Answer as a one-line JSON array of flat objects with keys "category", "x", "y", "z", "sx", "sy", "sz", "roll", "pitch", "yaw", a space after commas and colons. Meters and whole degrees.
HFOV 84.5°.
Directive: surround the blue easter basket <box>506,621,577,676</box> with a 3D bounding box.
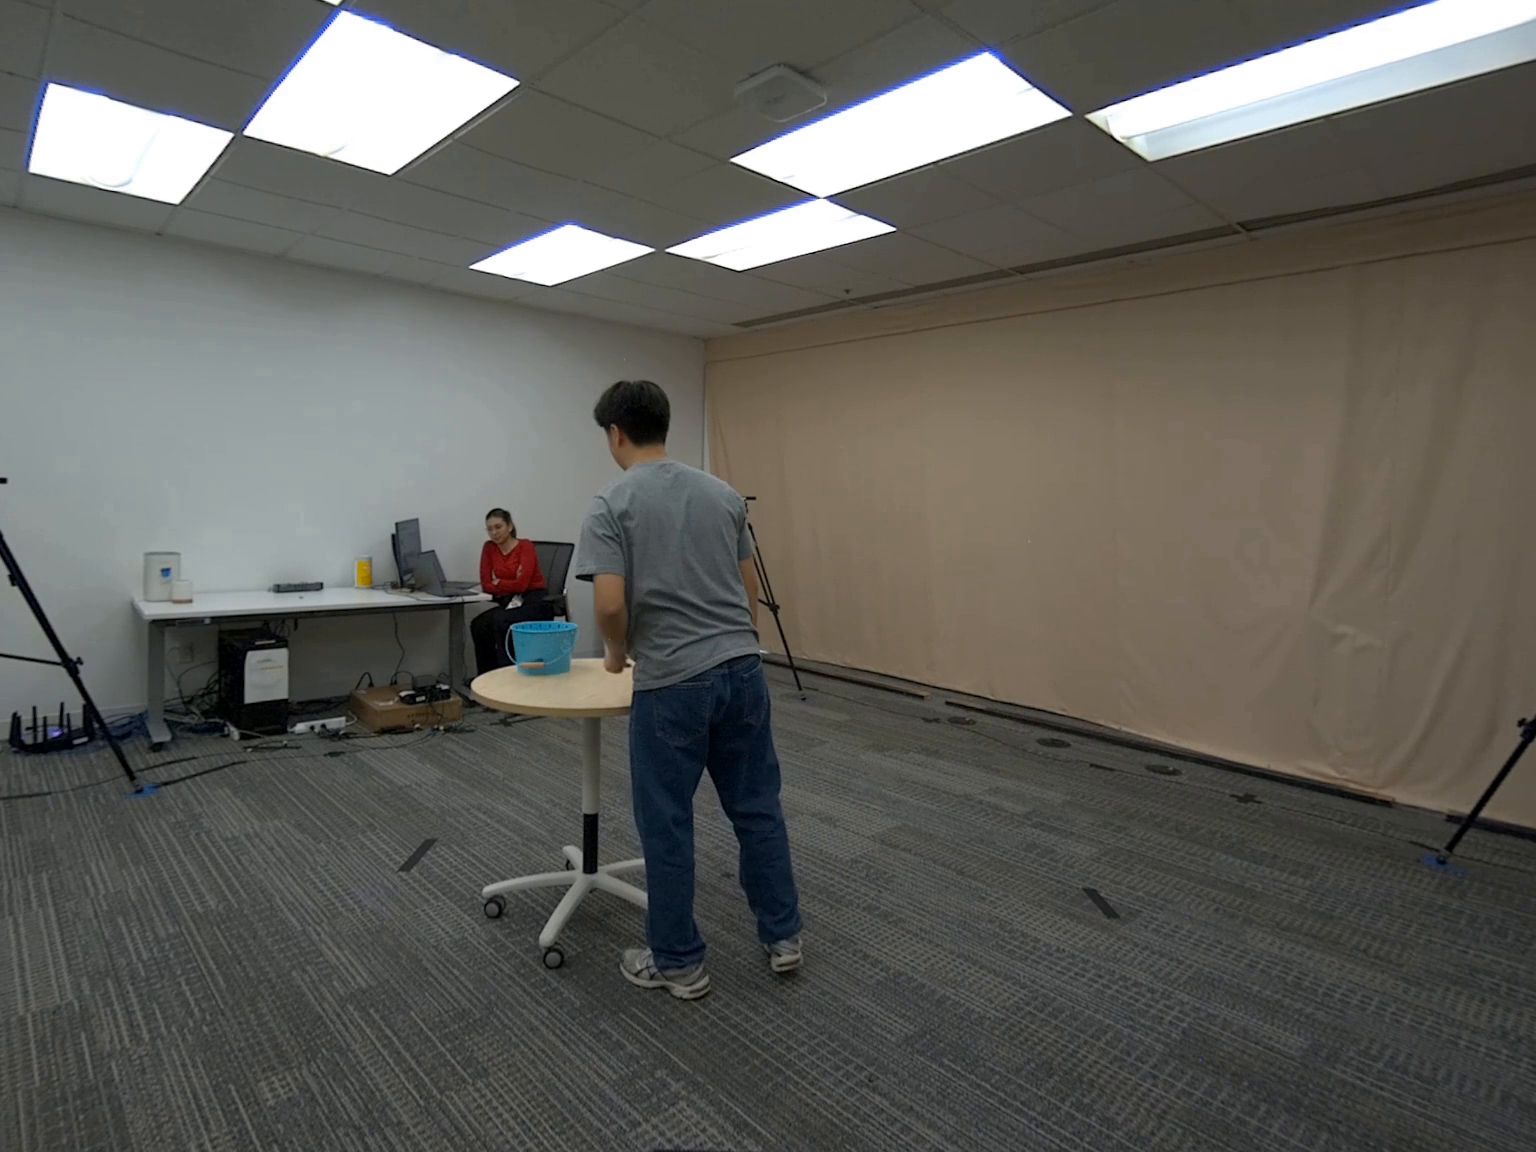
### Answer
[{"category": "blue easter basket", "x": -0.798, "y": 0.257, "z": 2.907, "sx": 0.243, "sy": 0.155, "sz": 0.244, "roll": 1, "pitch": 4, "yaw": -1}]
